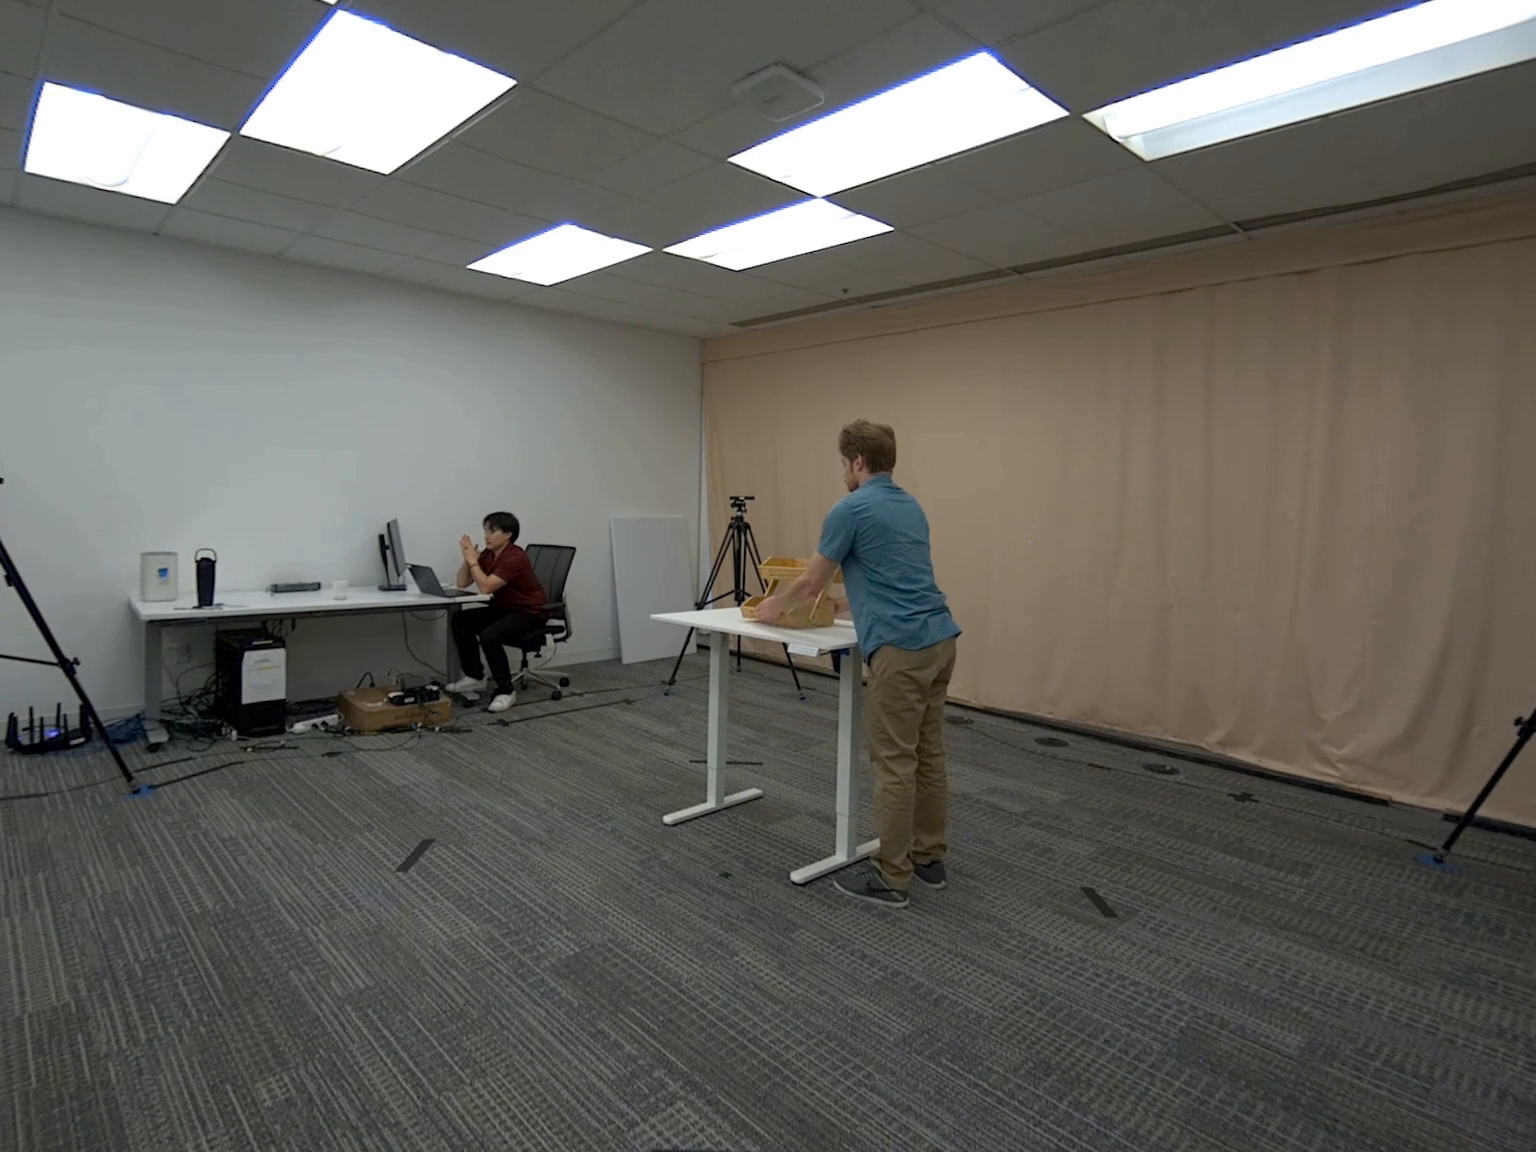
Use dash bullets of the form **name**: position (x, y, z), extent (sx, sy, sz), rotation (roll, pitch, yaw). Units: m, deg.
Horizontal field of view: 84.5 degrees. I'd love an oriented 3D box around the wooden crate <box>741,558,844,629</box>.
- **wooden crate**: position (0.090, 0.053, 3.466), extent (0.294, 0.273, 0.332), rotation (3, 0, -41)
